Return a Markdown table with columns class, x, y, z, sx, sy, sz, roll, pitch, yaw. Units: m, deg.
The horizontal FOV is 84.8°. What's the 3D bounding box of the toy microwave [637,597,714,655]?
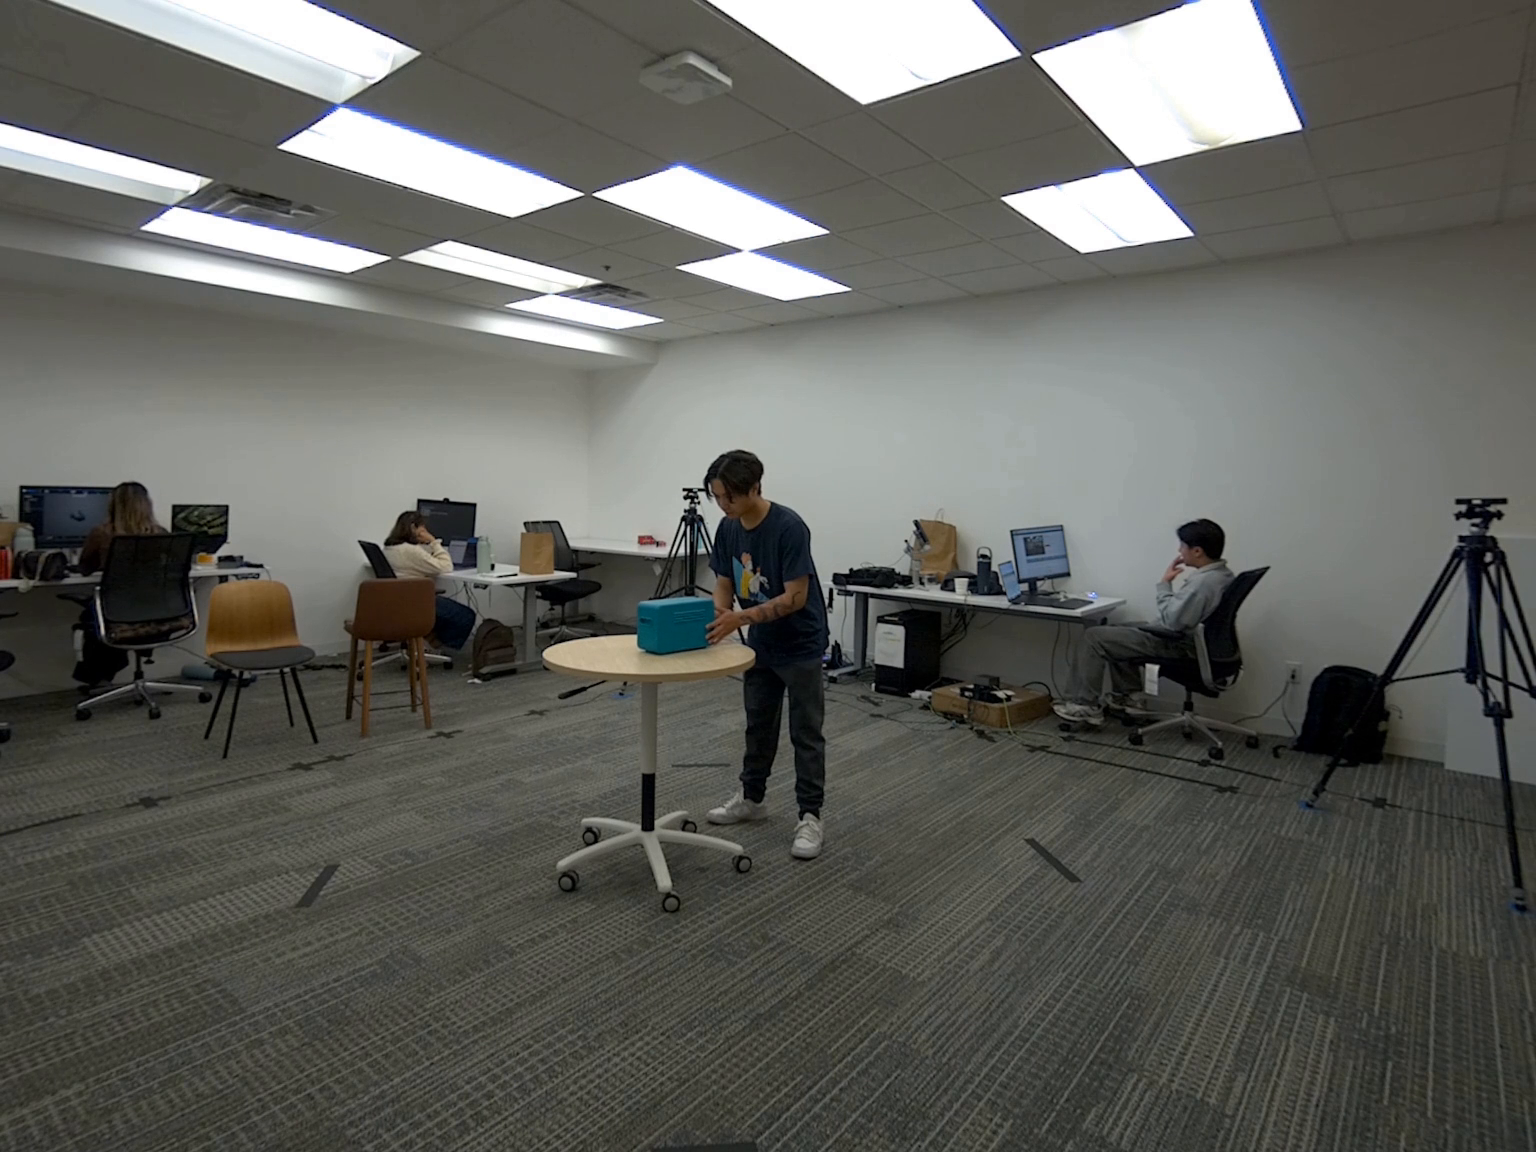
| class | x | y | z | sx | sy | sz | roll | pitch | yaw |
| --- | --- | --- | --- | --- | --- | --- | --- | --- | --- |
| toy microwave | -0.355 | 0.176 | 3.144 | 0.157 | 0.183 | 0.277 | 5 | 6 | 44 |
